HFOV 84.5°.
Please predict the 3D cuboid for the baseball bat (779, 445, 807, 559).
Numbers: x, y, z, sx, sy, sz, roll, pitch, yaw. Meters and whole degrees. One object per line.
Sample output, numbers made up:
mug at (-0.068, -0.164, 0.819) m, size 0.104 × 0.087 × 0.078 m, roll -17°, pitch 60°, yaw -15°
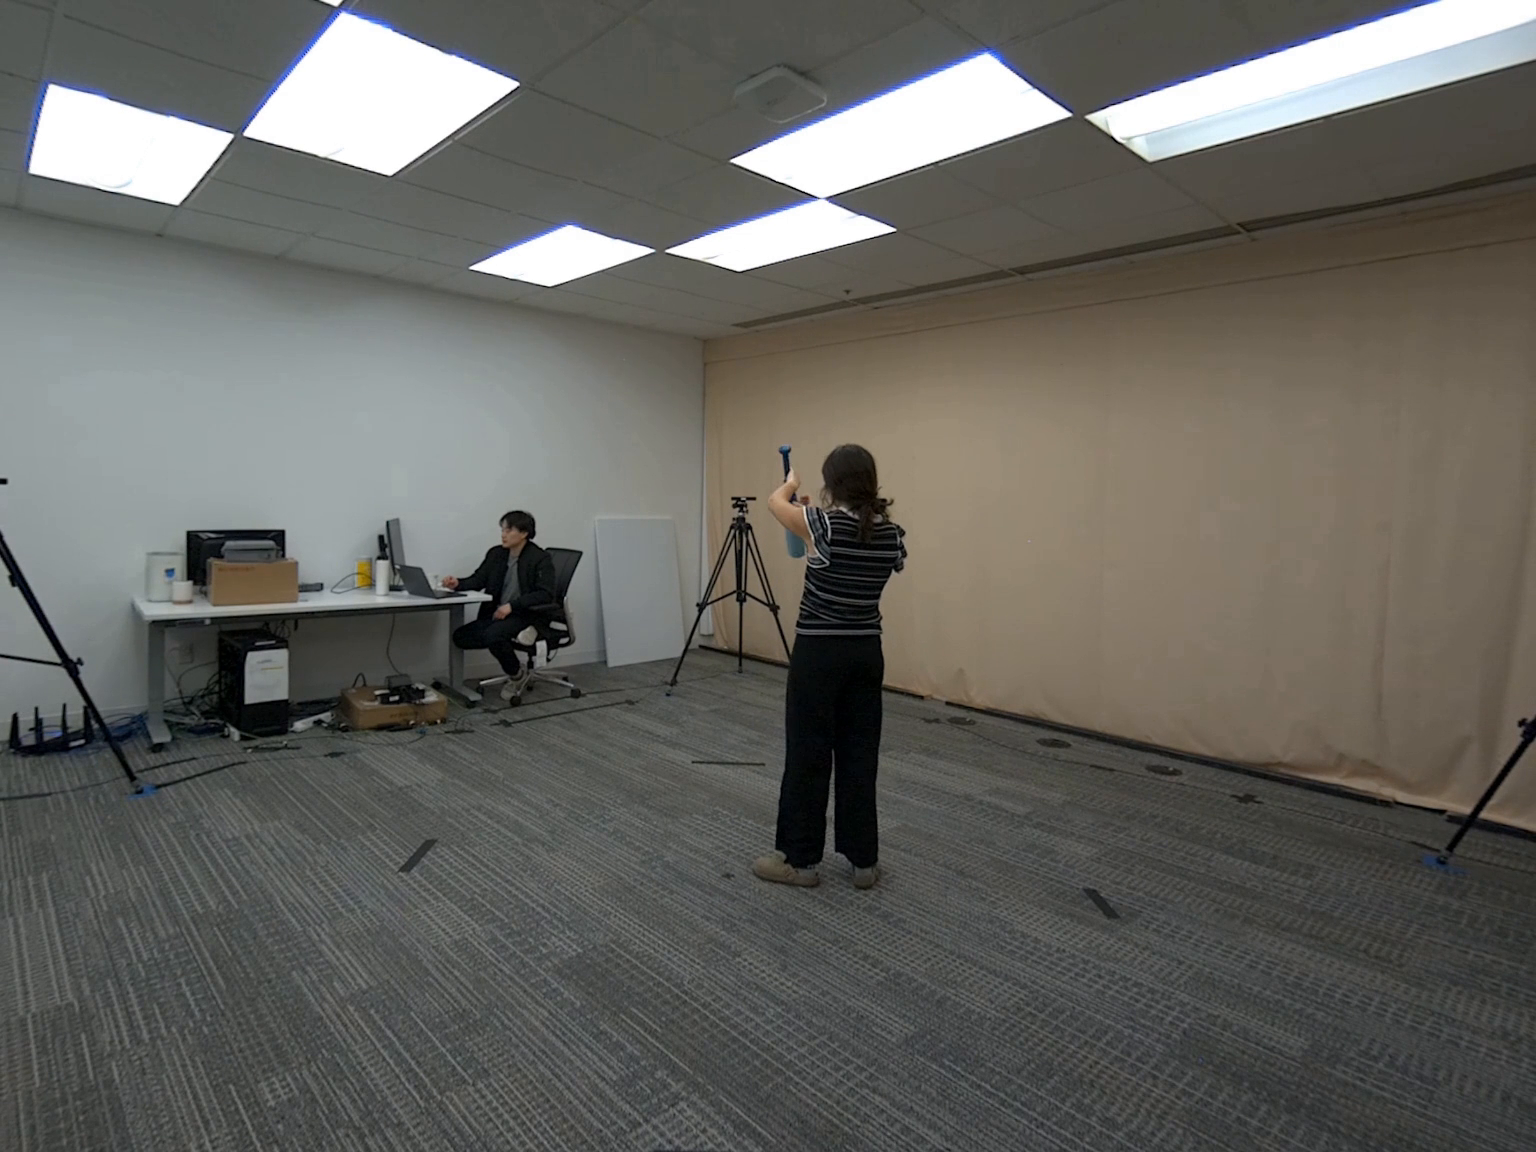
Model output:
baseball bat at (0.101, -0.308, 3.526) m, size 0.089 × 0.530 × 0.091 m, roll -6°, pitch 37°, yaw 3°
